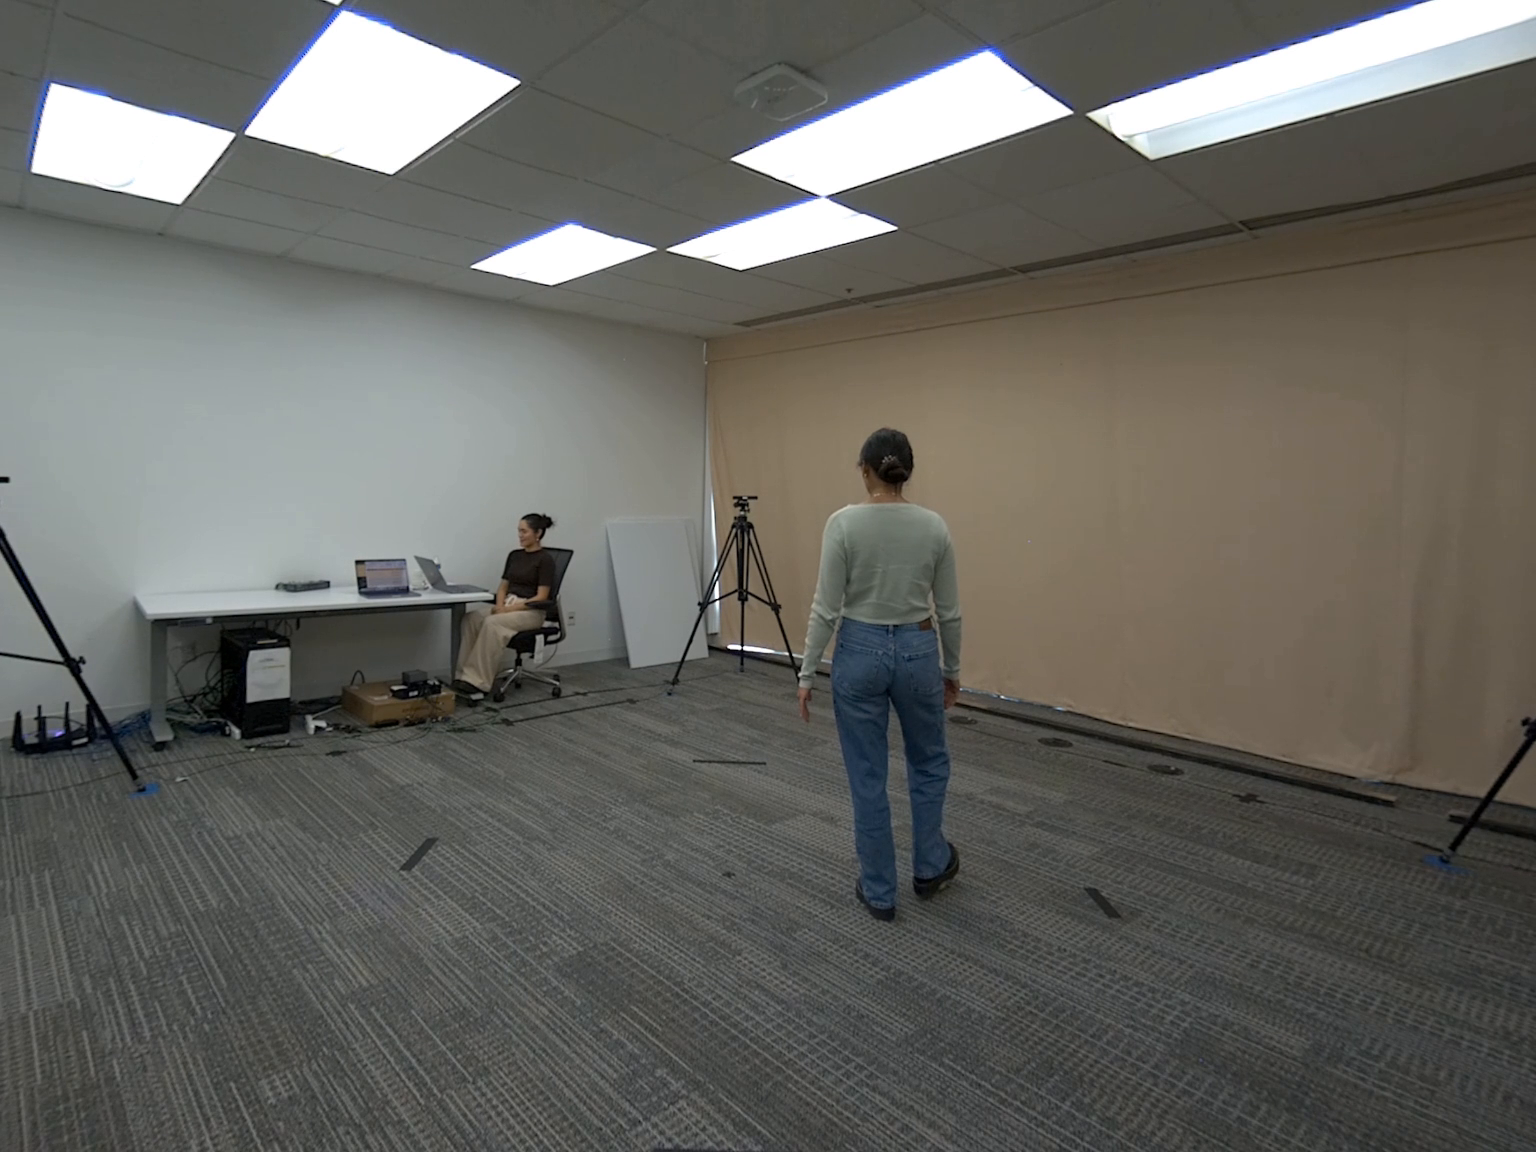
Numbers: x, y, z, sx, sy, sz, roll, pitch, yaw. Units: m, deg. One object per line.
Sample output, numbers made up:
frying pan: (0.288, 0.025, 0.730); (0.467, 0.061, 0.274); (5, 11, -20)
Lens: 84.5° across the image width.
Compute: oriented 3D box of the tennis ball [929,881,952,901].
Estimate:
tennis ball: (0.613, 1.113, 3.038); (0.066, 0.066, 0.067); (1, 4, -1)
